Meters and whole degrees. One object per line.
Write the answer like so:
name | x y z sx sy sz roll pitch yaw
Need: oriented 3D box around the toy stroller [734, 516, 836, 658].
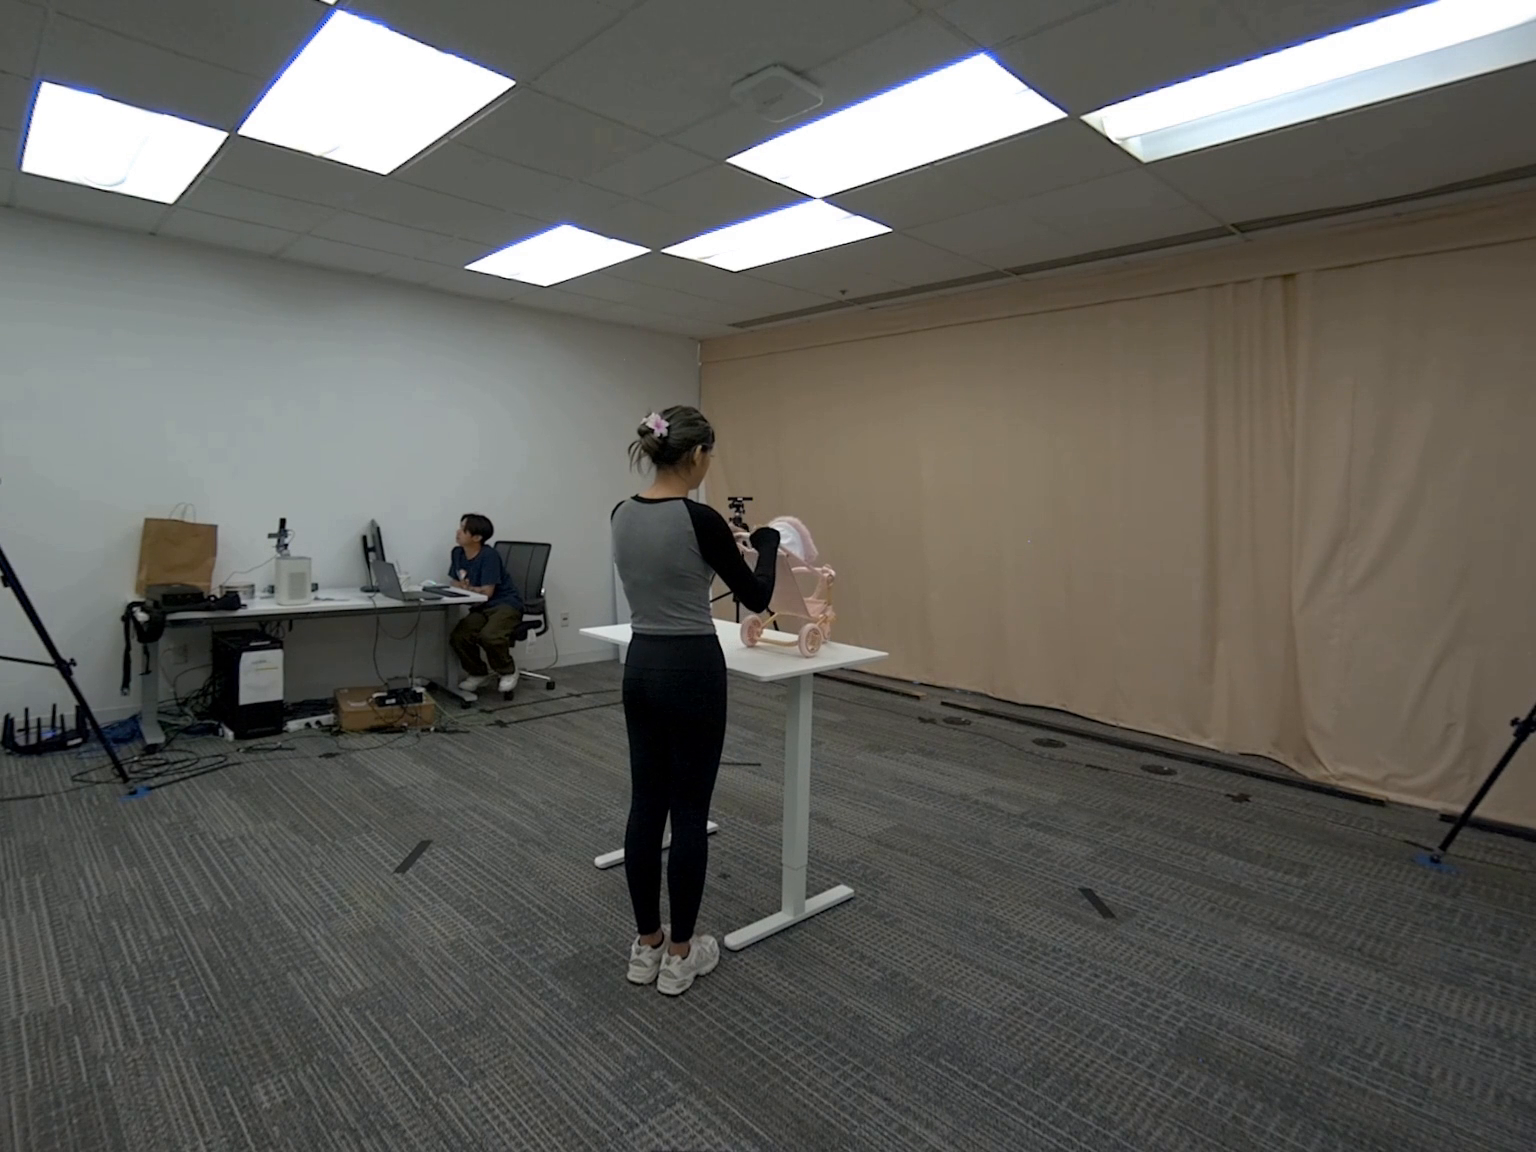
toy stroller | 0.070 0.035 2.847 0.289 0.527 0.337 6 25 43
